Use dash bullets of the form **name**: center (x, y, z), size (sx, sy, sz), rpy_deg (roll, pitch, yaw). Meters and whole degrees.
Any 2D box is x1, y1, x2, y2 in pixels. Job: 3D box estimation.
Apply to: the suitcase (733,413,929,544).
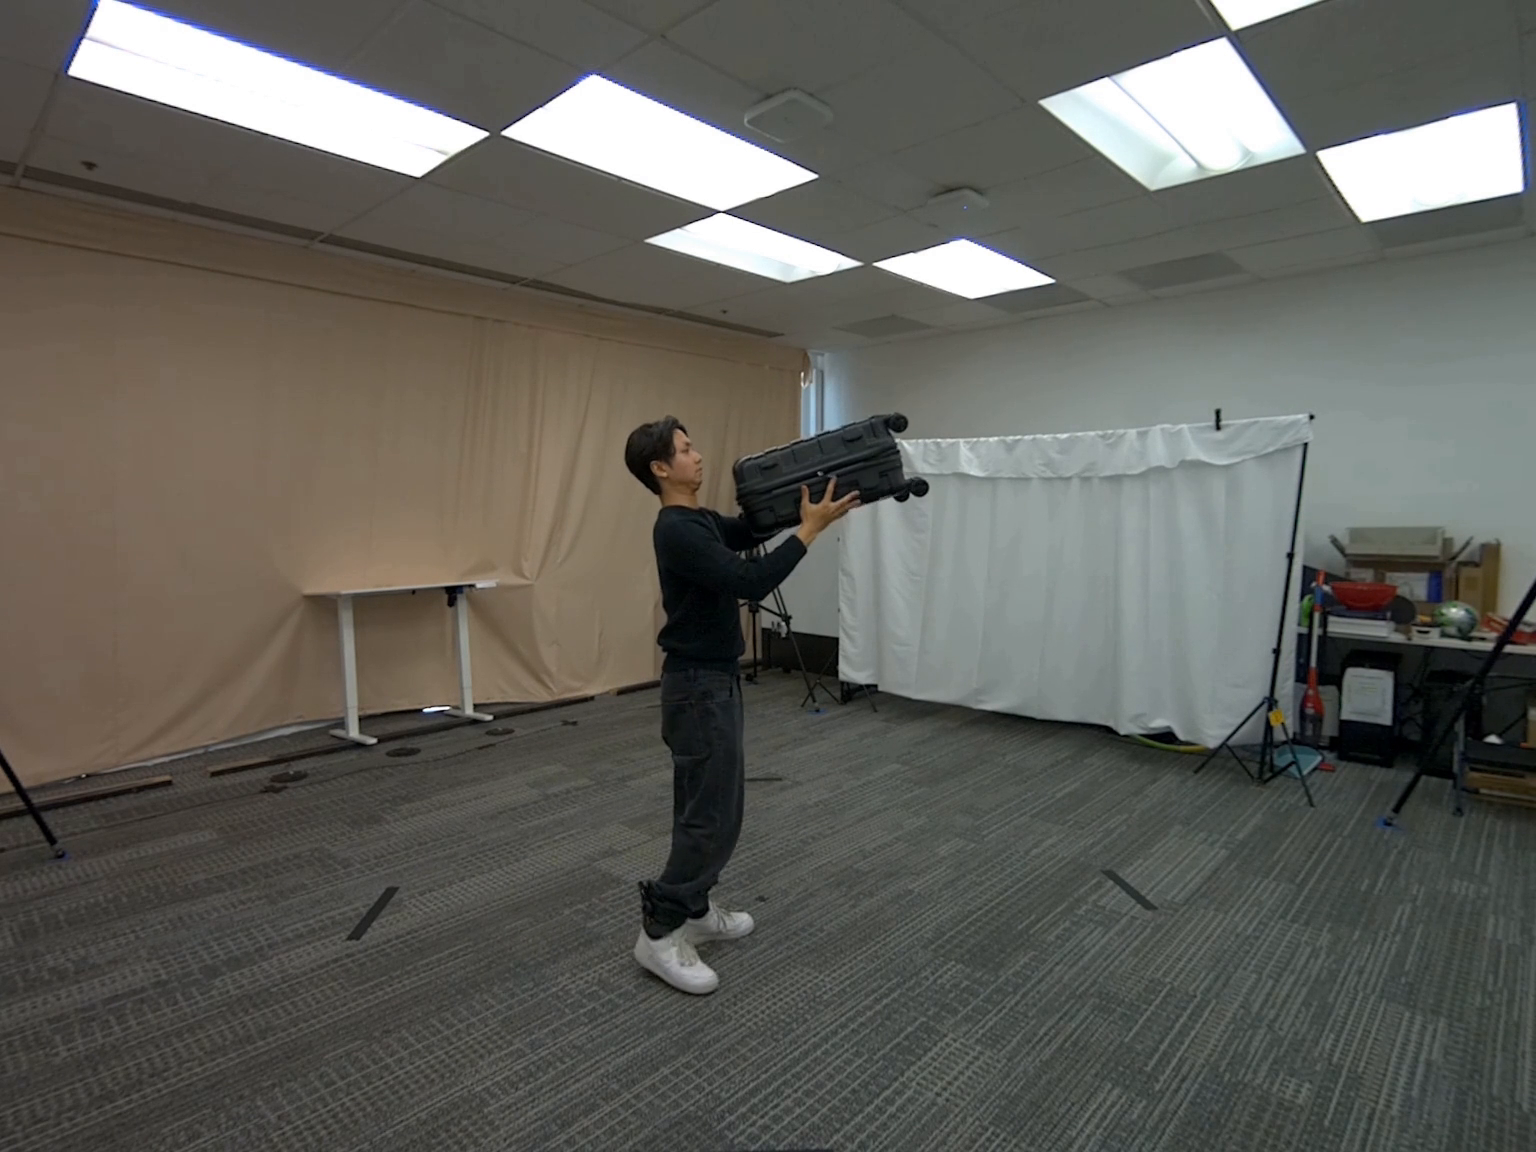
- **suitcase**: center (0.172, -0.303, 2.606), size (0.550, 0.248, 0.376), rpy_deg (-17, 4, 1)
